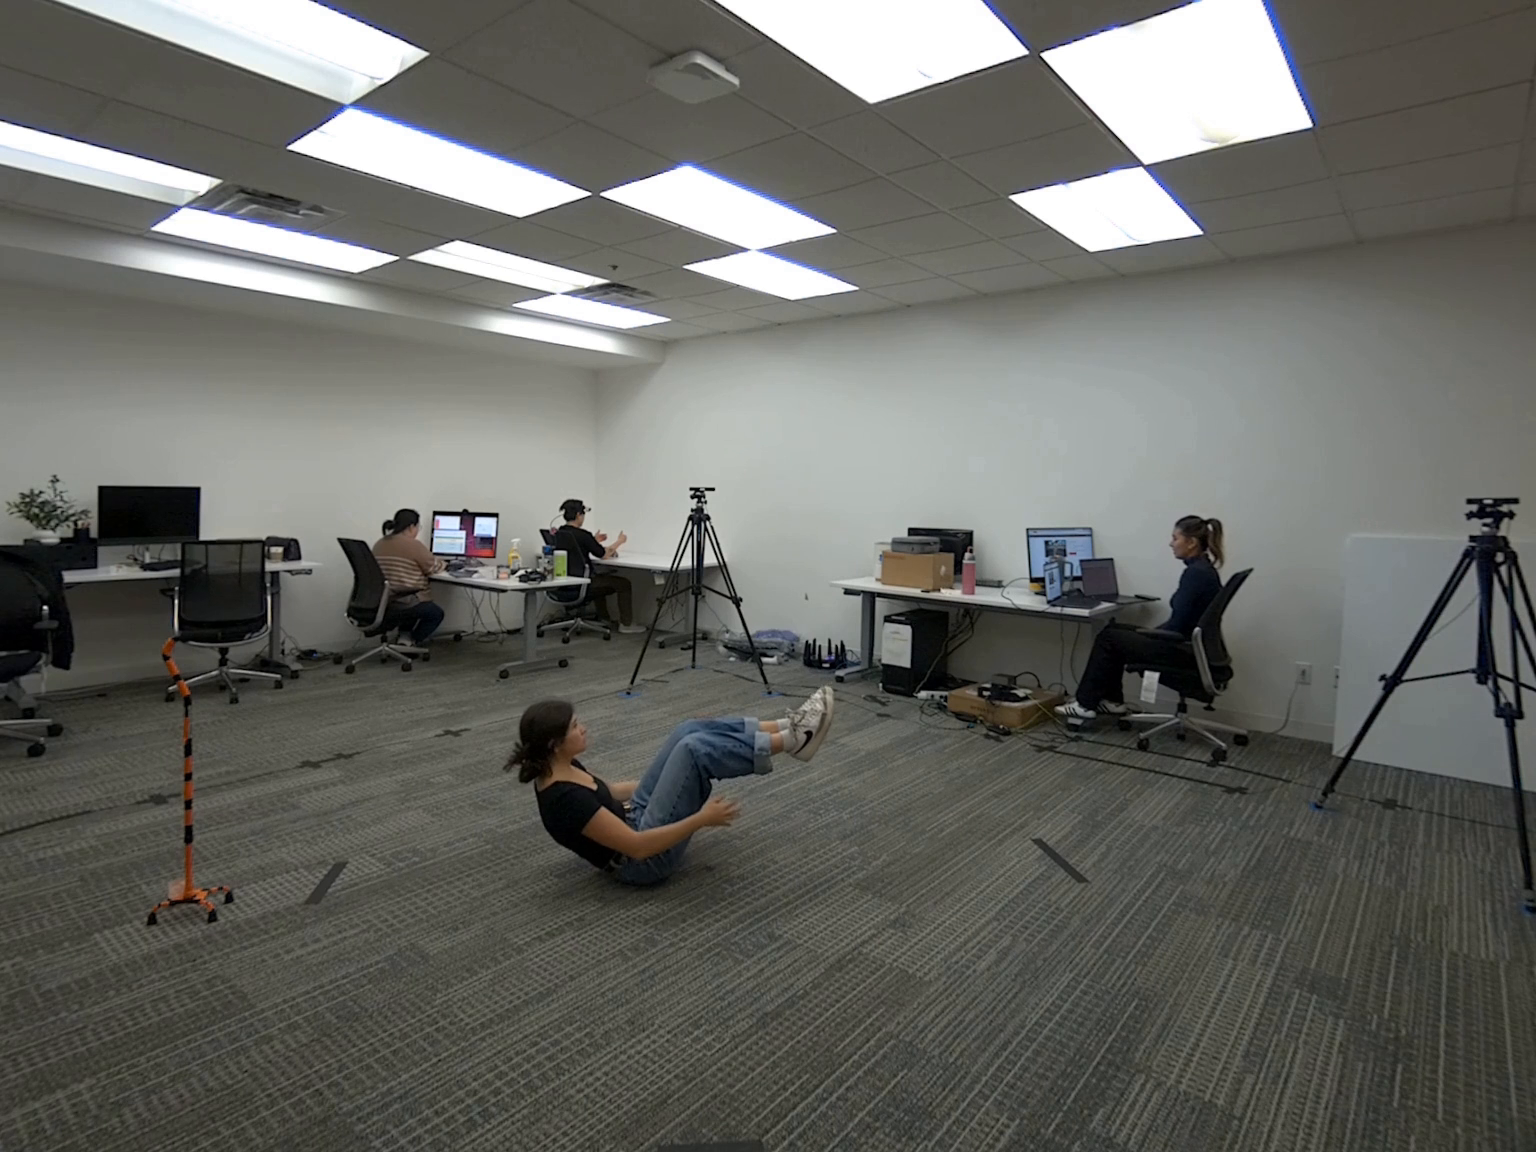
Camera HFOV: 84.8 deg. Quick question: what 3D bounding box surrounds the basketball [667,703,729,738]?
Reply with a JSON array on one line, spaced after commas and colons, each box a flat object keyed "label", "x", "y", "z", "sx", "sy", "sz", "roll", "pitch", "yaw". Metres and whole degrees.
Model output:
[{"label": "basketball", "x": -0.282, "y": 0.659, "z": 3.378, "sx": 0.235, "sy": 0.235, "sz": 0.237, "roll": 1, "pitch": 4, "yaw": -2}]
